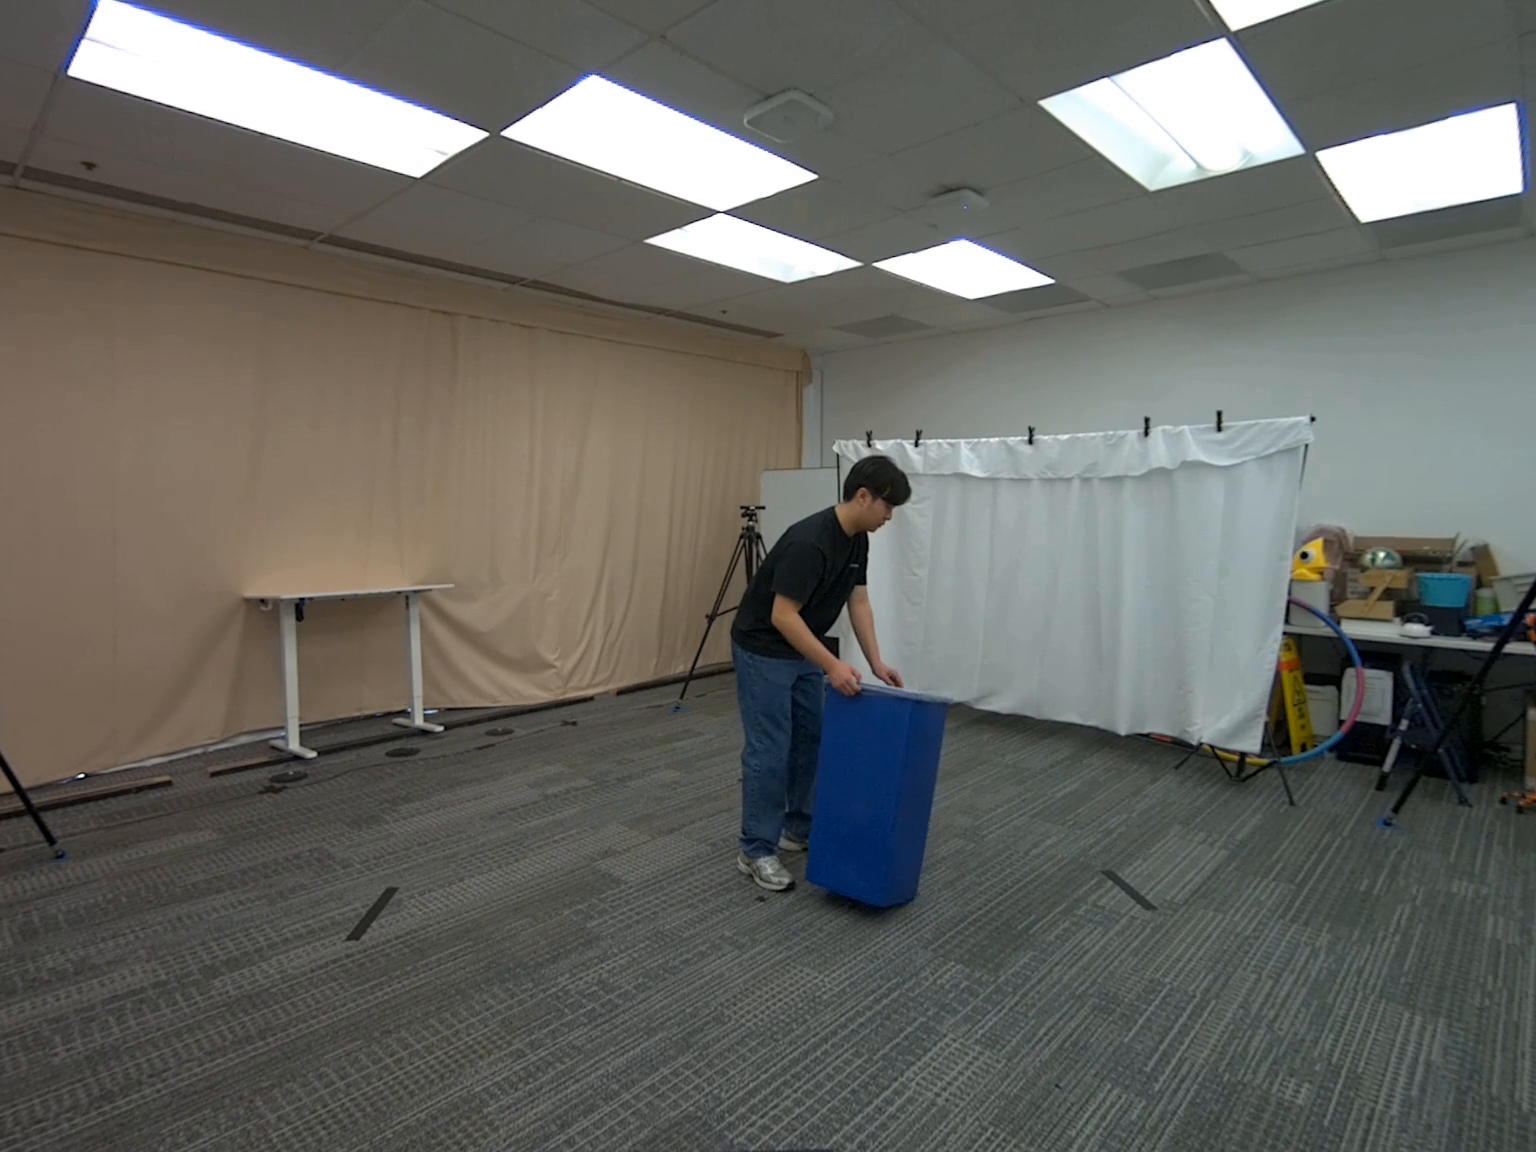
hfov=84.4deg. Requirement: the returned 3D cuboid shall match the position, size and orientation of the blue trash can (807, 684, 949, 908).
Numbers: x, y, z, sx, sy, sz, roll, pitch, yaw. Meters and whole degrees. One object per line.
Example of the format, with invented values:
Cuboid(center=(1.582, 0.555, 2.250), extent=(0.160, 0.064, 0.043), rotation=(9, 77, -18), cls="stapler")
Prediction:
Cuboid(center=(0.391, 0.755, 3.004), extent=(0.390, 0.716, 0.361), rotation=(4, -9, 35), cls="blue trash can")
